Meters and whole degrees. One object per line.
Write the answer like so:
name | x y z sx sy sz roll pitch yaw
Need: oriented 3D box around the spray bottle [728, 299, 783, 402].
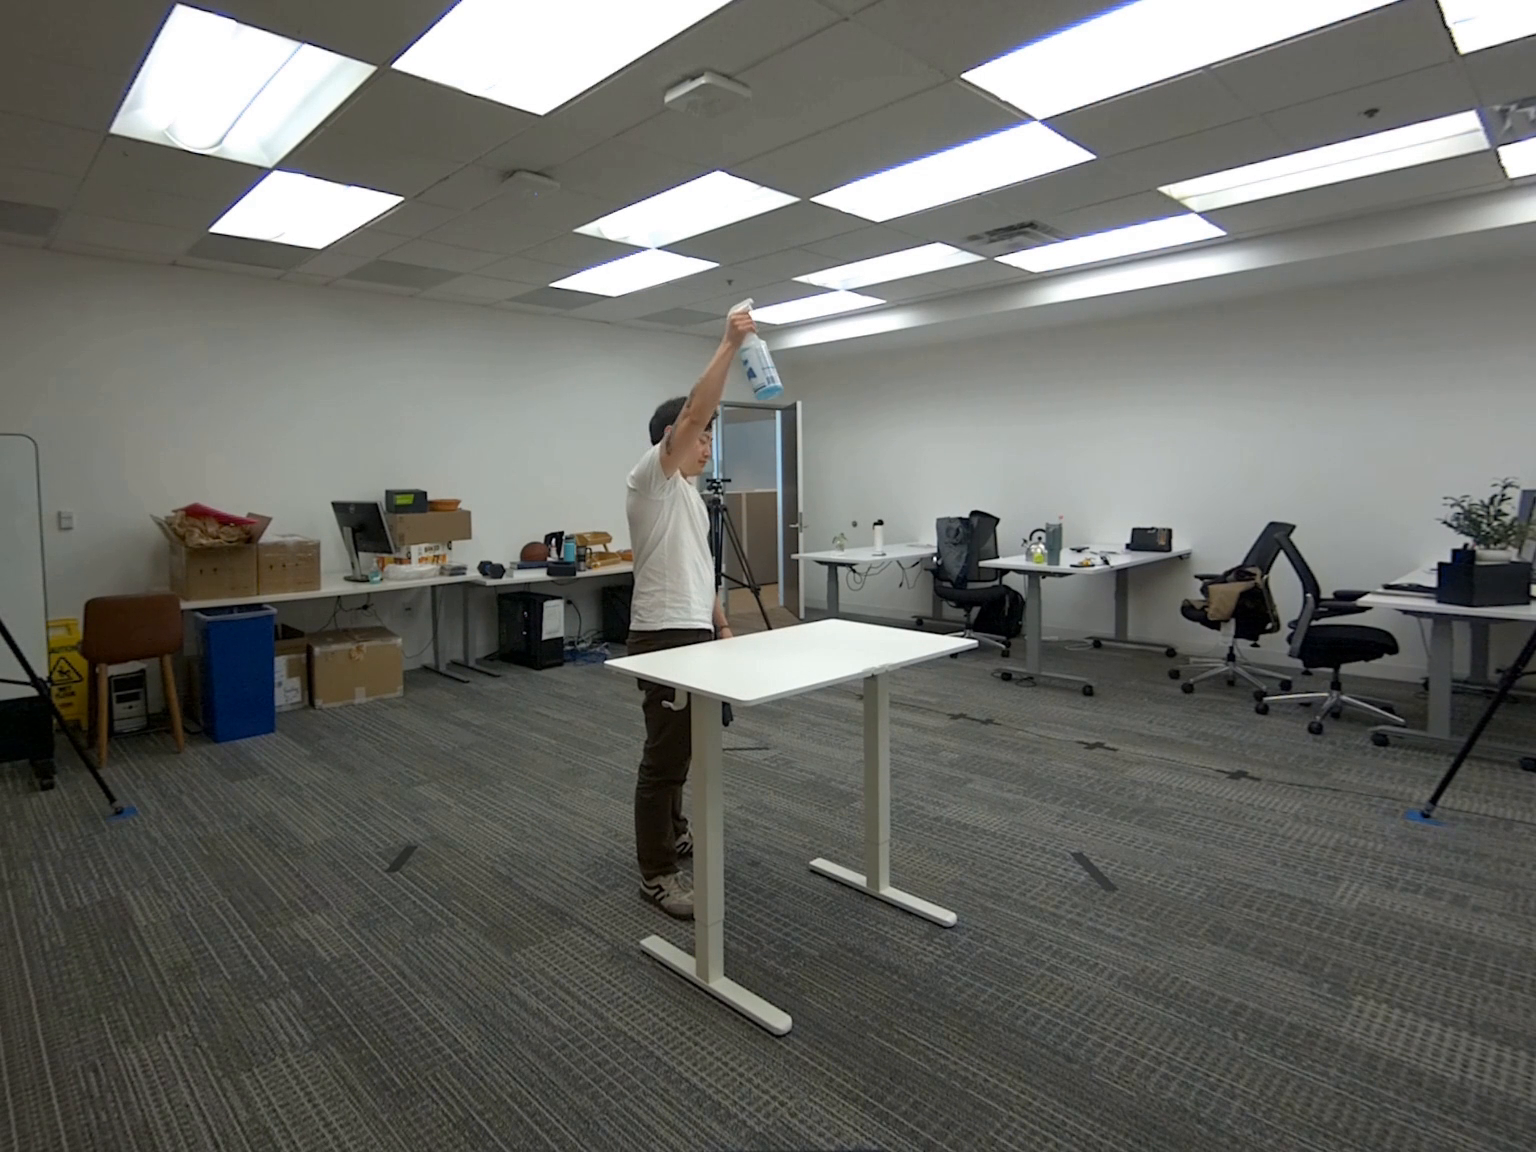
spray bottle | -0.040 -0.676 2.570 0.091 0.299 0.085 -21 -5 40
